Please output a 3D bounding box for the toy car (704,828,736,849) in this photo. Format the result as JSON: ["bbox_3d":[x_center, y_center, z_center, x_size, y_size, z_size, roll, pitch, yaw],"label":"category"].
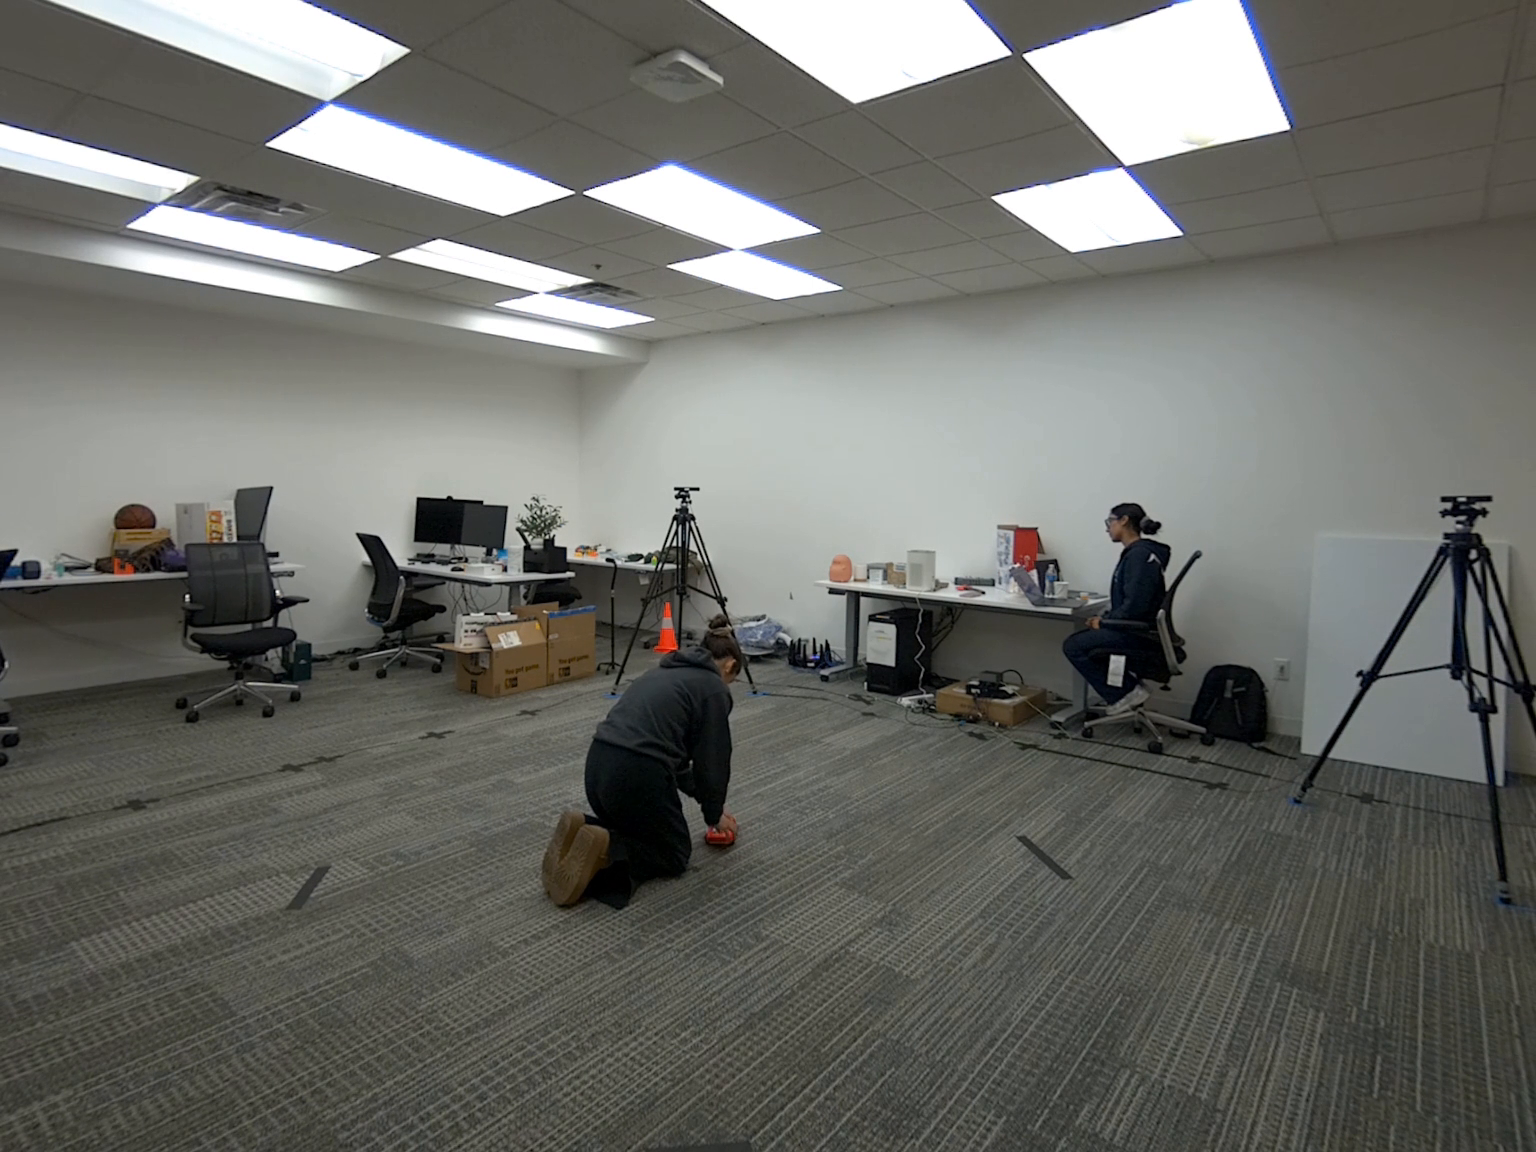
[{"bbox_3d":[-0.193,1.007,3.376,0.131,0.084,0.252,-2,-6,2],"label":"toy car"}]
